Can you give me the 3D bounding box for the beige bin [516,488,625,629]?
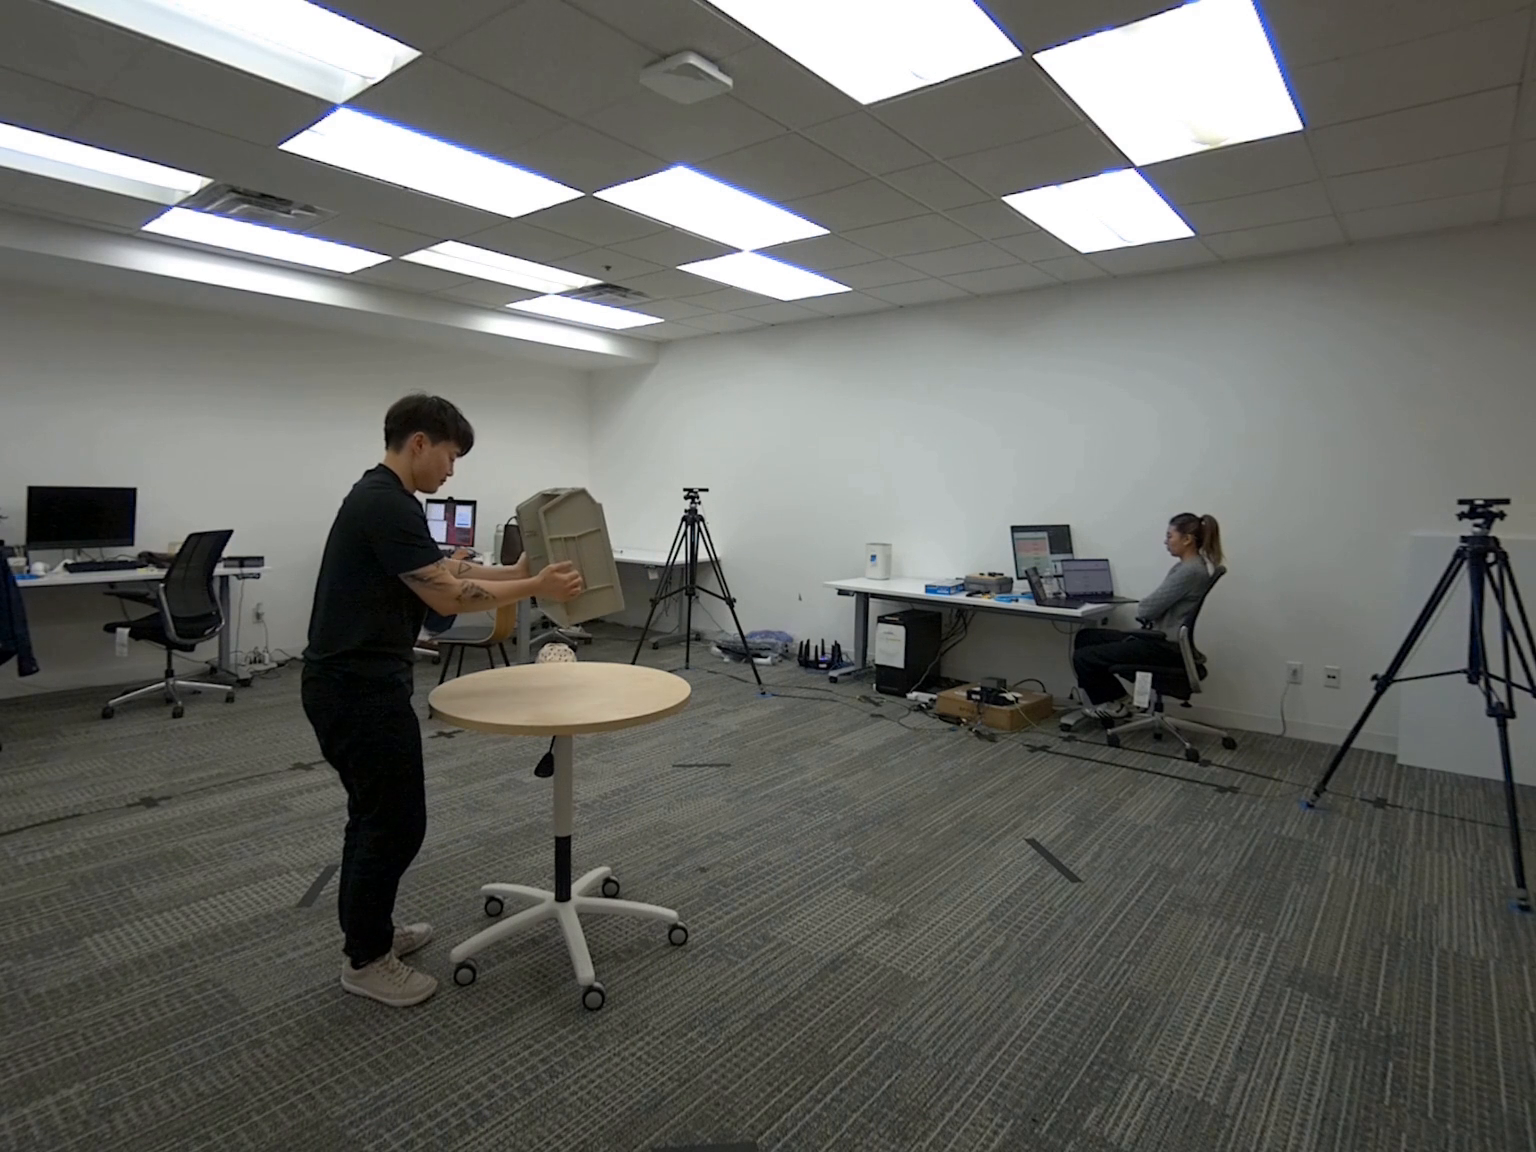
[{"bbox_3d":[-0.616,-0.070,2.554,0.186,0.374,0.434,-14,10,-23],"label":"beige bin"}]
